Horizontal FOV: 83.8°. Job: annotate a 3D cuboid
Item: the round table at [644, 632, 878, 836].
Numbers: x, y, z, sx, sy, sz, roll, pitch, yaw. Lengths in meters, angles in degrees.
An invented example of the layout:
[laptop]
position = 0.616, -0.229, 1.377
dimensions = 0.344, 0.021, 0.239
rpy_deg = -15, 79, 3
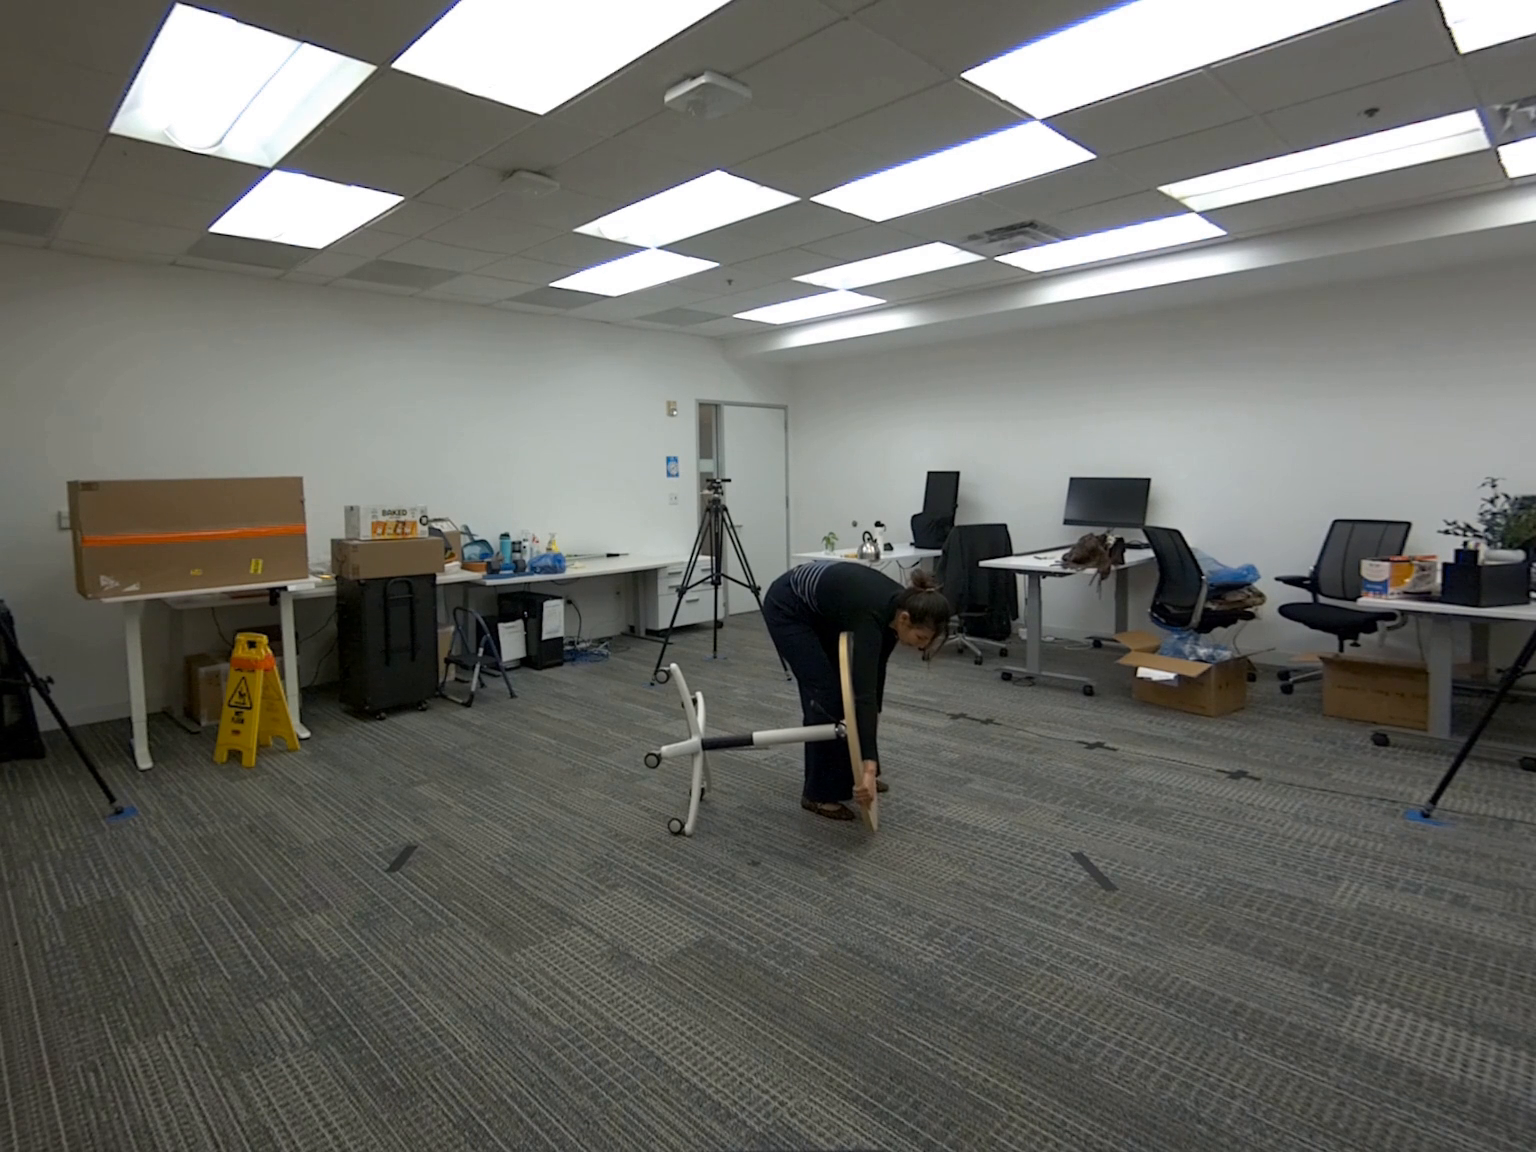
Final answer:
[round table]
position = -0.018, 0.659, 3.451
dimensions = 0.801, 0.762, 0.759
rpy_deg = -9, 3, 10
